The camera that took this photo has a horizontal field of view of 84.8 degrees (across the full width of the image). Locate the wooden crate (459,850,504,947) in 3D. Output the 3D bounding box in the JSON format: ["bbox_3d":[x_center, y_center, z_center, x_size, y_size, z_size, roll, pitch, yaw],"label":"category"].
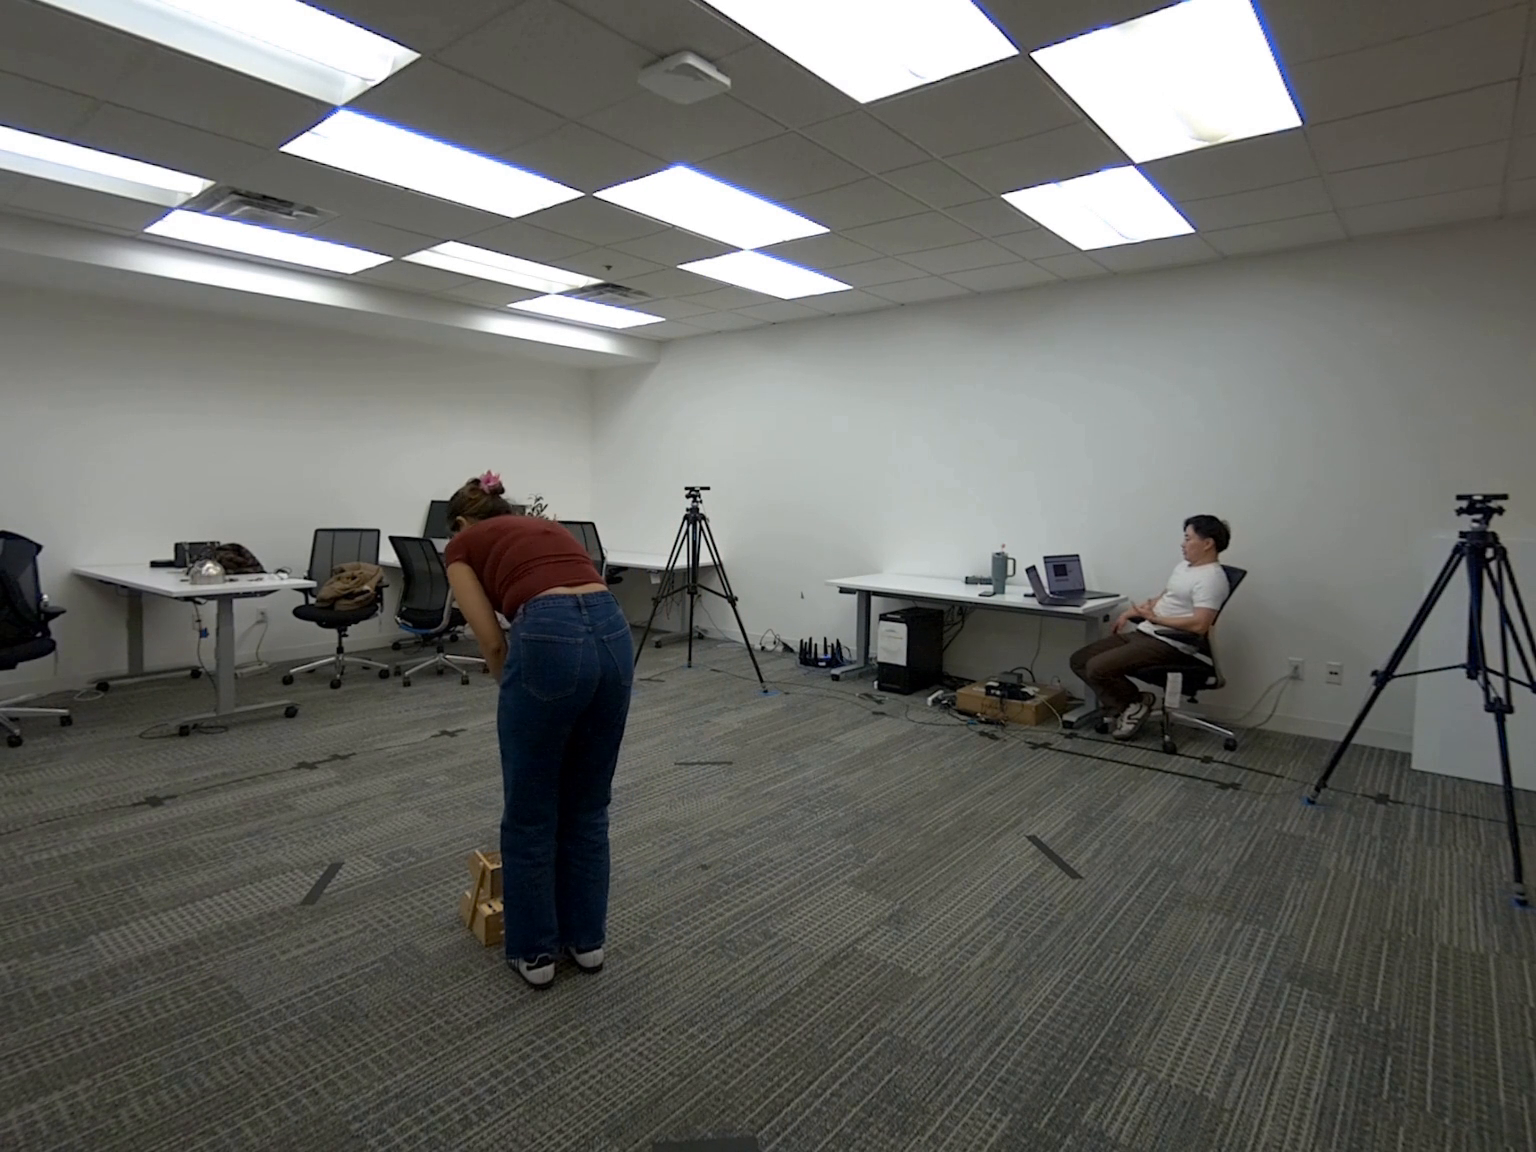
[{"bbox_3d":[-0.802,0.959,2.716,0.315,0.272,0.312,-2,6,-37],"label":"wooden crate"}]
